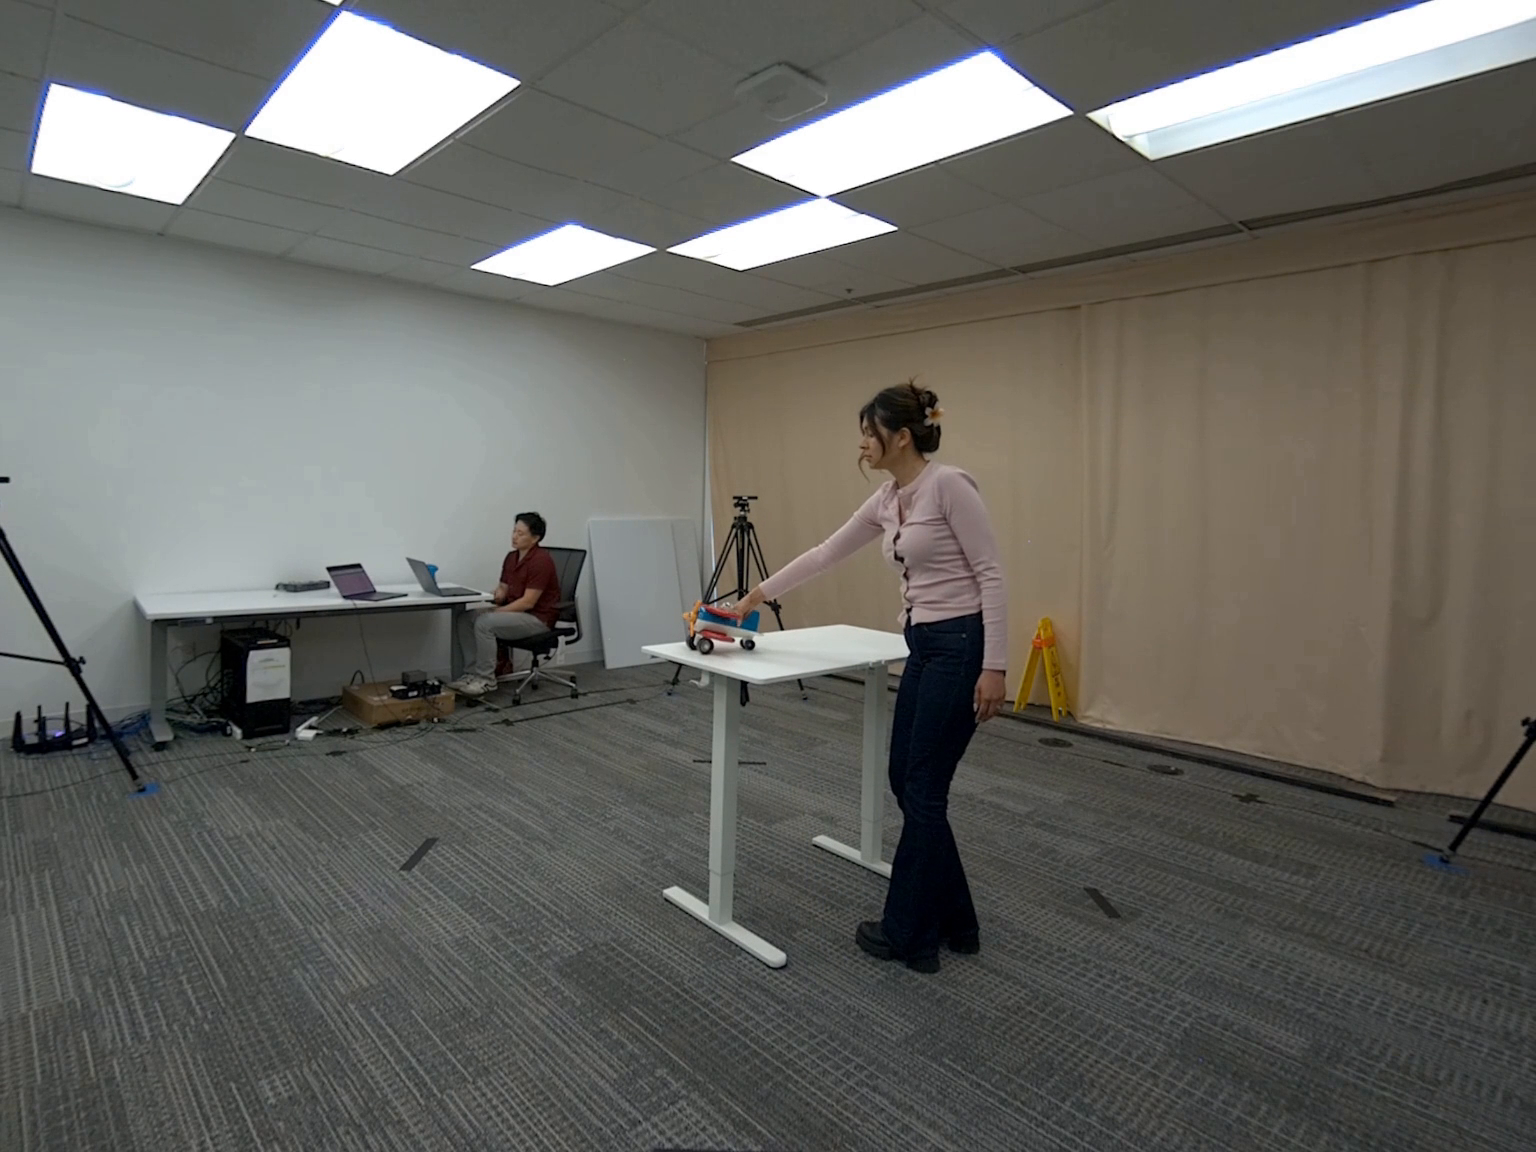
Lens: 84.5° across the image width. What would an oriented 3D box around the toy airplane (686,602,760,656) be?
[{"bbox_3d":[-0.178,0.170,2.800,0.257,0.156,0.253,4,5,36],"label":"toy airplane"}]
